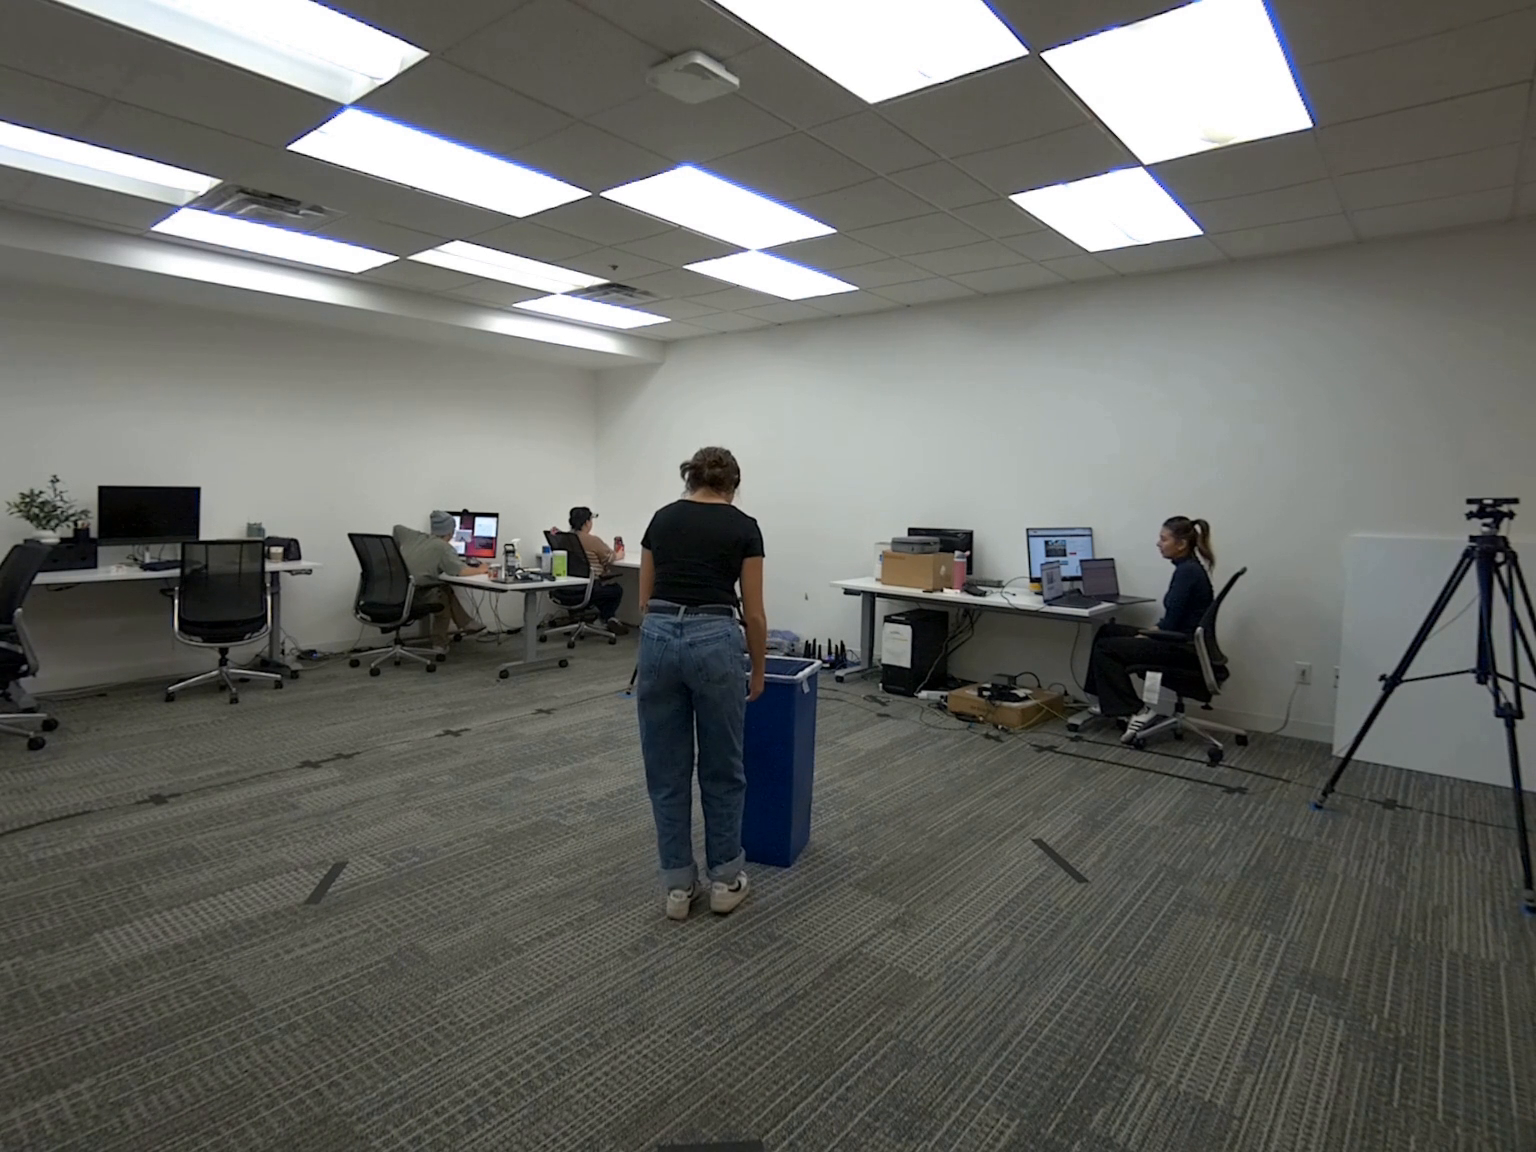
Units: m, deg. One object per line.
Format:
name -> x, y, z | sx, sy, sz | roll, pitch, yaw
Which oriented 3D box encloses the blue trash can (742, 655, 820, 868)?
blue trash can -> -0.025, 0.694, 3.299 | 0.382, 0.712, 0.371 | 2, 3, 19
